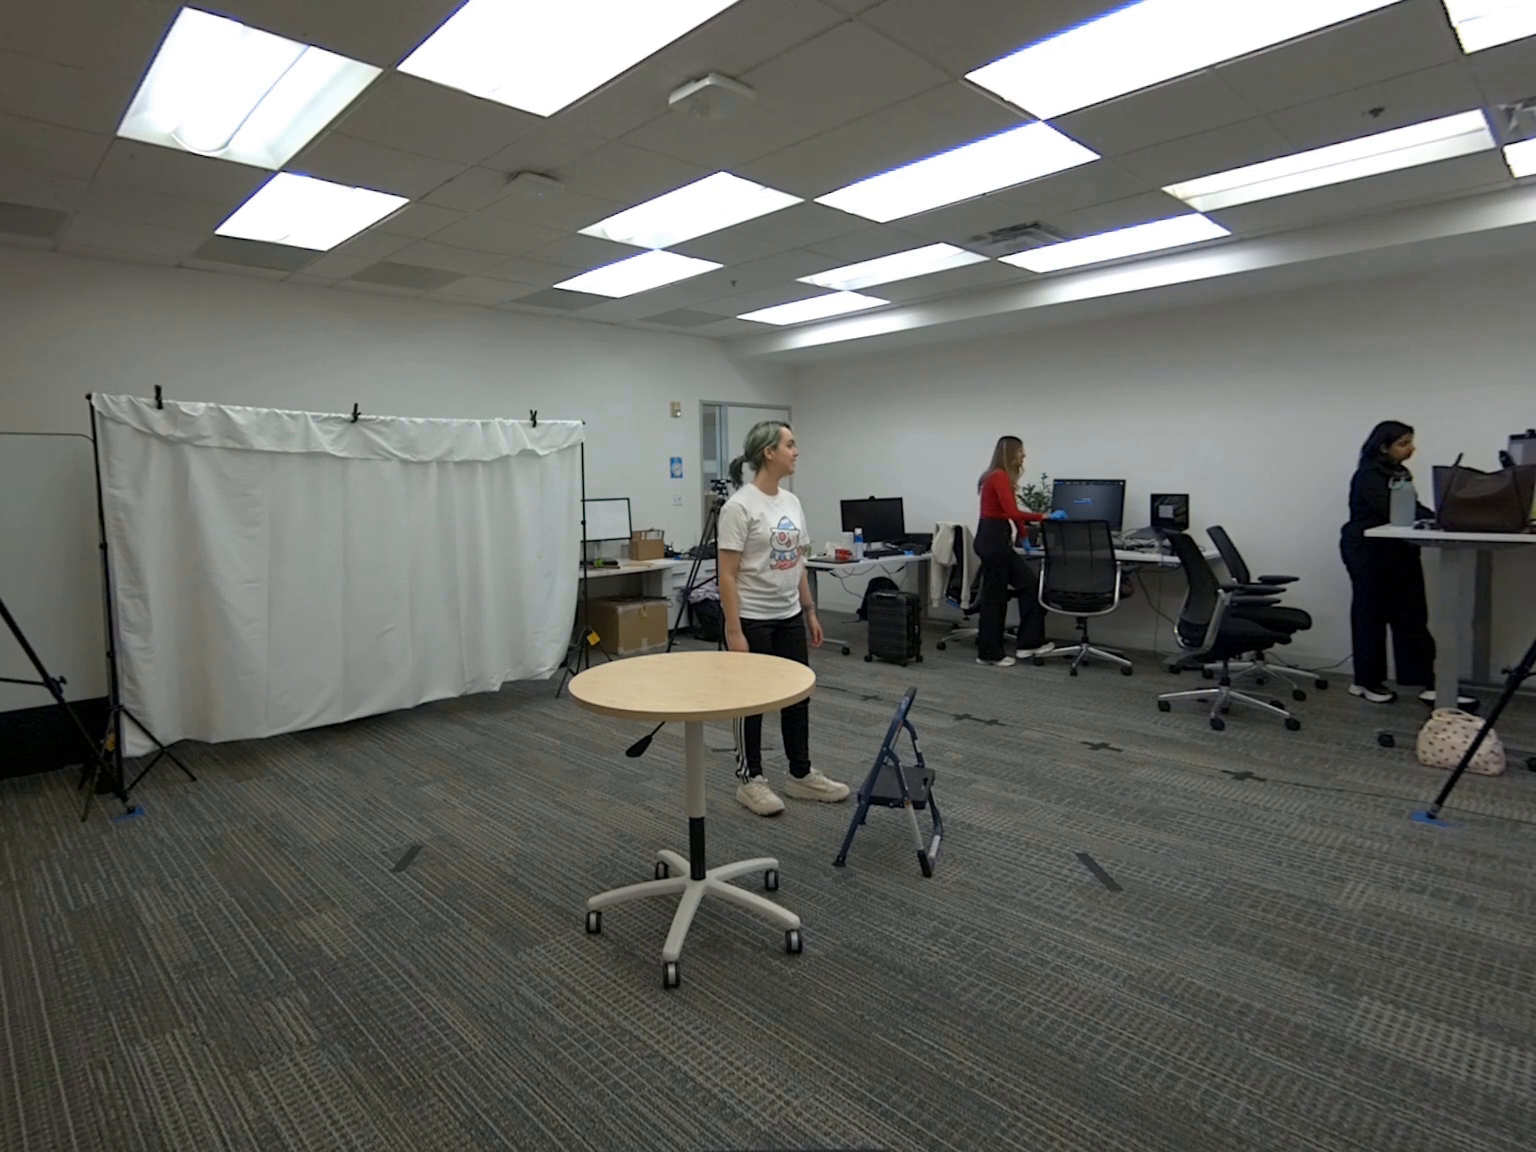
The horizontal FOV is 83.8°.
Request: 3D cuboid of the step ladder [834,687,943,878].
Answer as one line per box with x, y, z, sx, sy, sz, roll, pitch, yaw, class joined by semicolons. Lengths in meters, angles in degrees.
0.459;0.725;3.199;0.356;0.604;0.424;0;4;18;step ladder
